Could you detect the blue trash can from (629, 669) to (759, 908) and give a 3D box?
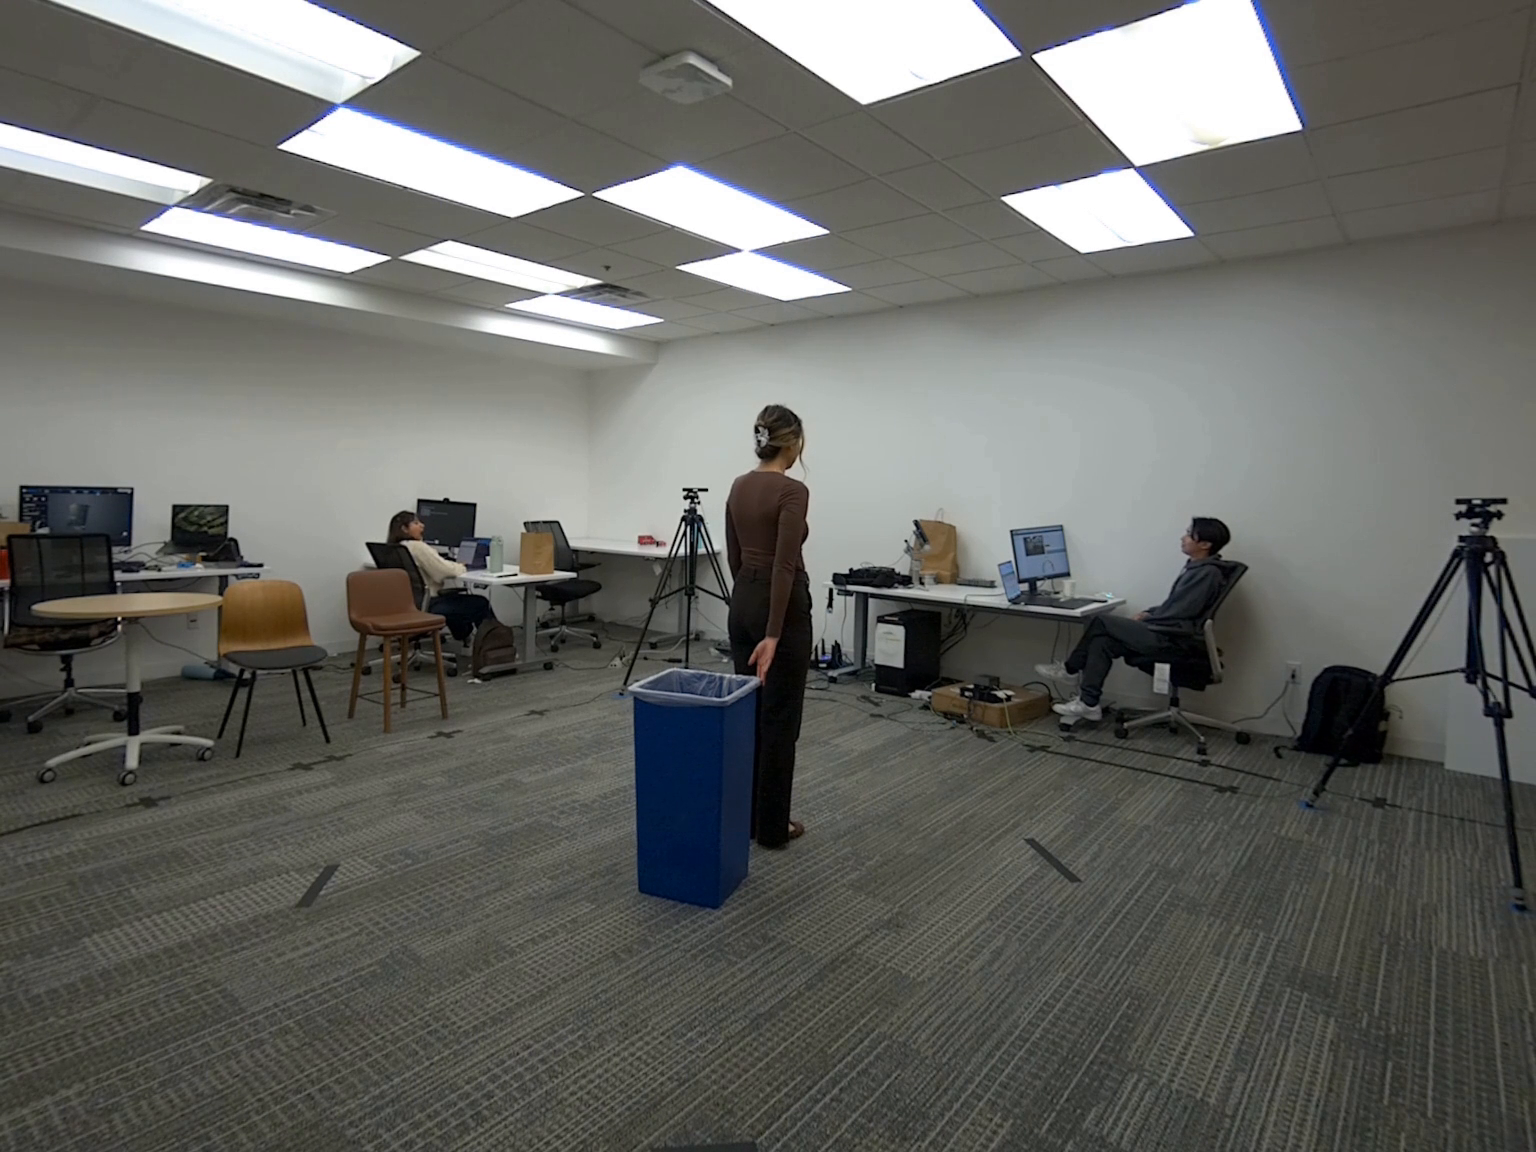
[{"bbox_3d":[-0.260,0.722,2.985,0.382,0.712,0.371,1,3,20],"label":"blue trash can"}]
